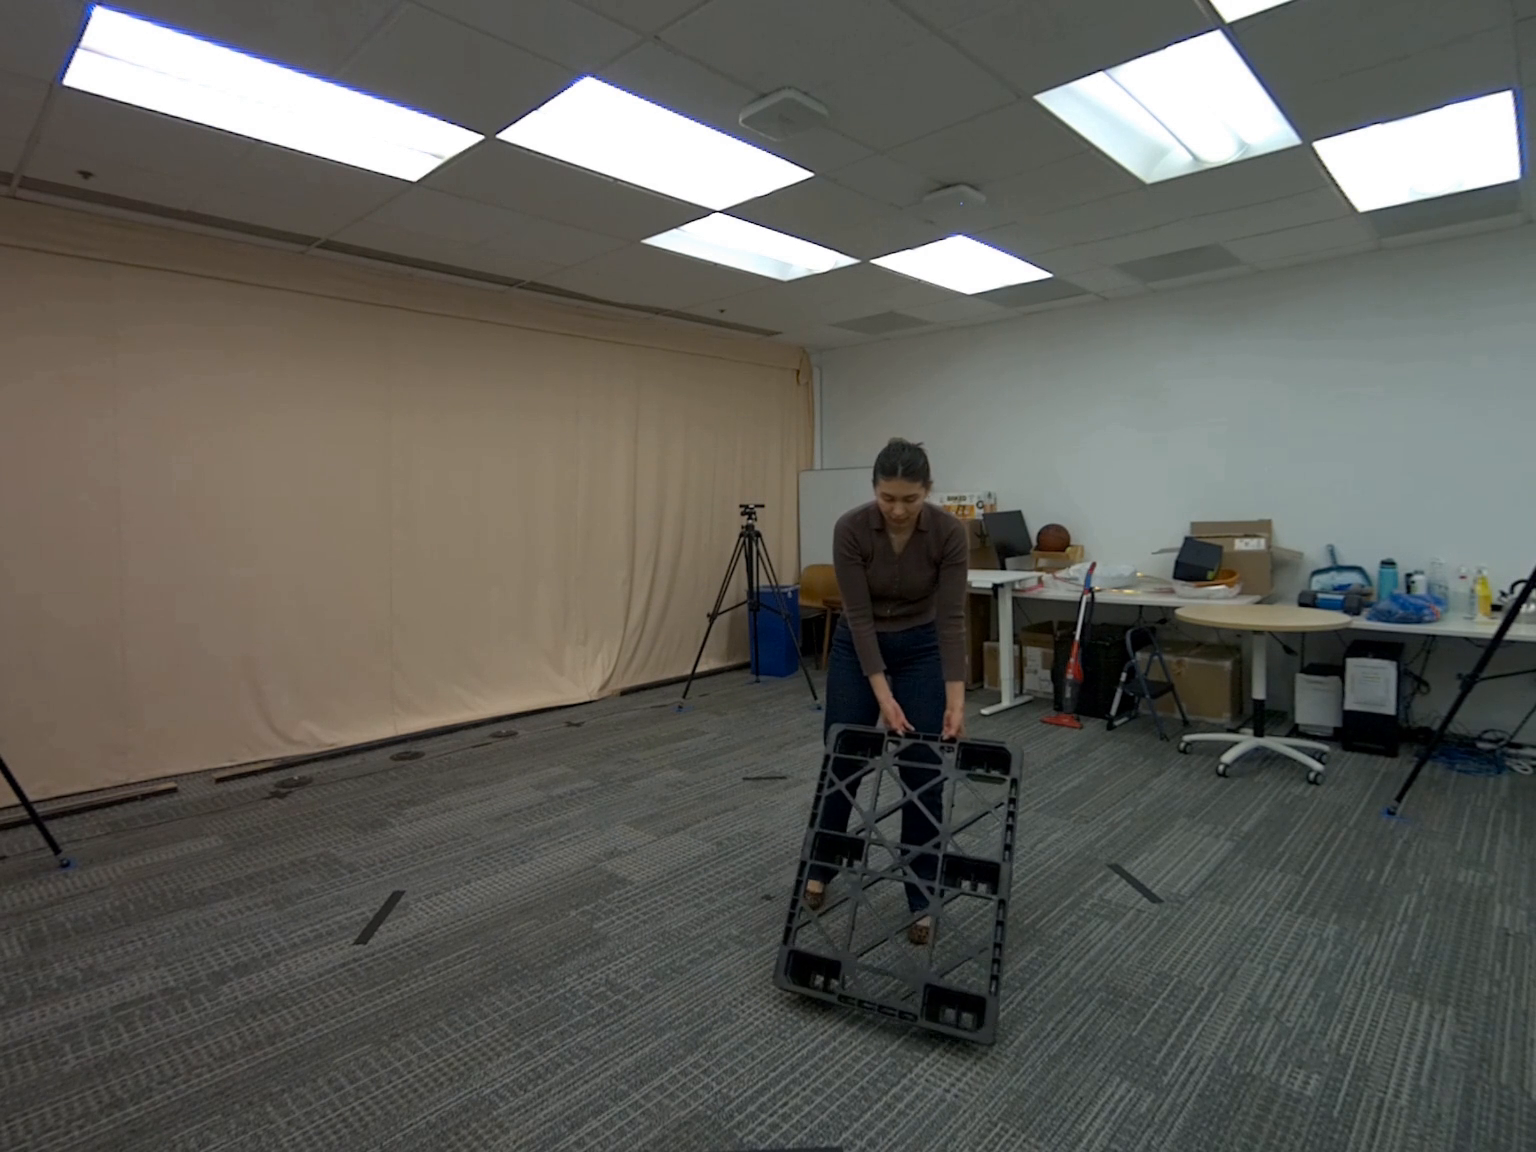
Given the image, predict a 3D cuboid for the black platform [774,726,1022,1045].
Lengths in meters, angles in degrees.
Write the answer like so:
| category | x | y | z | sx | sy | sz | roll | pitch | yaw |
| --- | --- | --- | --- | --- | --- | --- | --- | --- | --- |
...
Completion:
| category | x | y | z | sx | sy | sz | roll | pitch | yaw |
| --- | --- | --- | --- | --- | --- | --- | --- | --- | --- |
| black platform | 0.411 | 0.851 | 2.454 | 0.621 | 0.811 | 0.139 | 1 | -34 | 25 |
